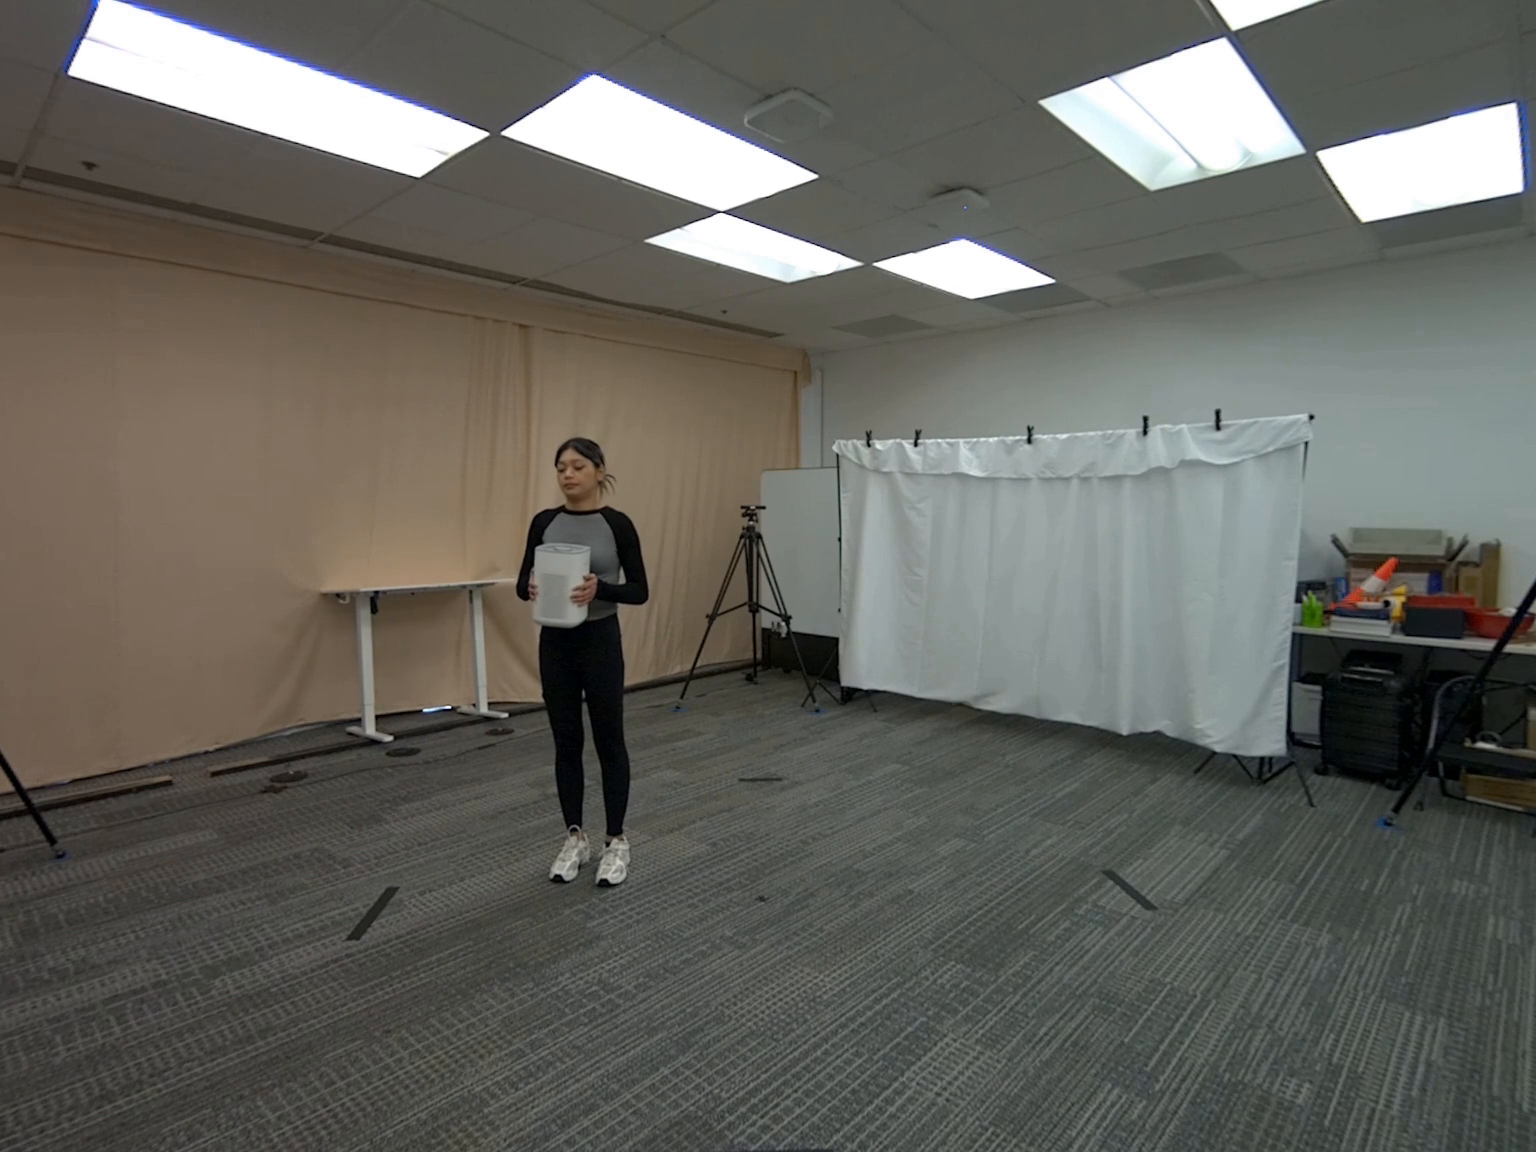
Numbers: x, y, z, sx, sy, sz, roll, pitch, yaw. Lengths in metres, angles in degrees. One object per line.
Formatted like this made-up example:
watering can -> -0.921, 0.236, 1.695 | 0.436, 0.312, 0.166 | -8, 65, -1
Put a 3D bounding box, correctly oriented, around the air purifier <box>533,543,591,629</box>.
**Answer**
air purifier -> -0.724, 0.030, 2.909 | 0.172, 0.264, 0.172 | 2, 9, -1
